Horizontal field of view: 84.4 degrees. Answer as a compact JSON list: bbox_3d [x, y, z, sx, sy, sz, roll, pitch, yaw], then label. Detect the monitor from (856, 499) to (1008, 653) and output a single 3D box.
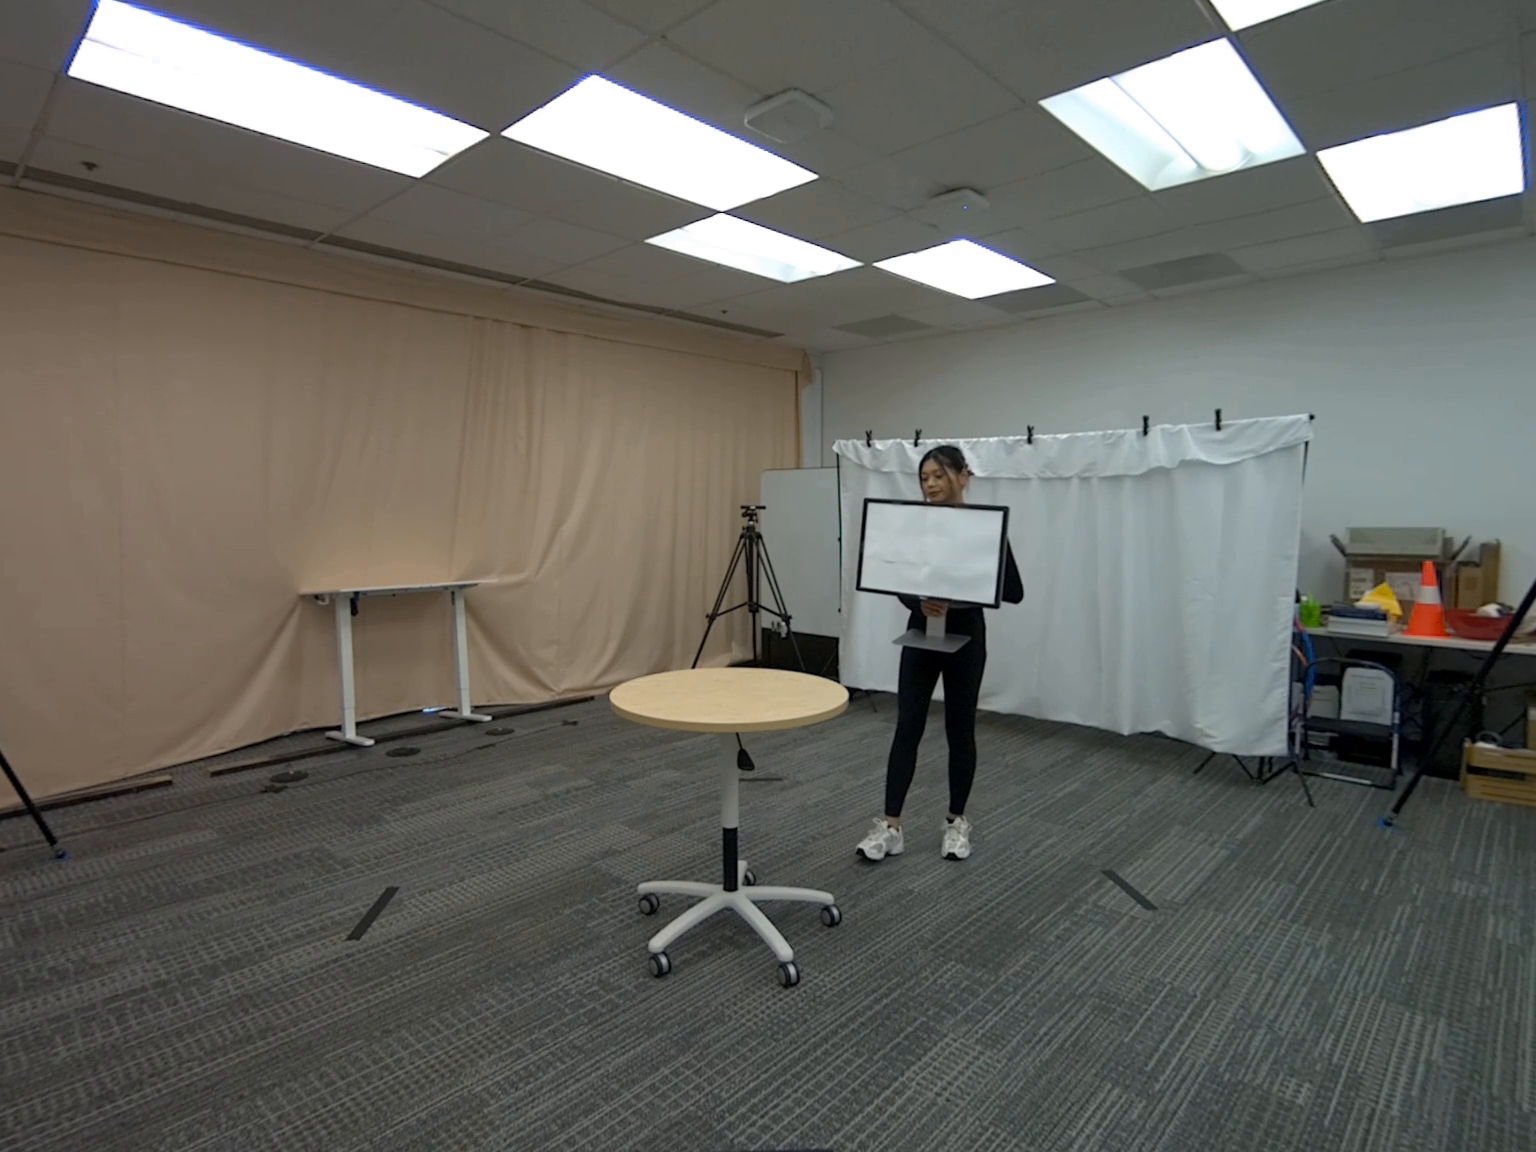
[{"bbox_3d":[0.616,-0.011,3.160,0.556,0.518,0.182,7,14,34],"label":"monitor"}]
